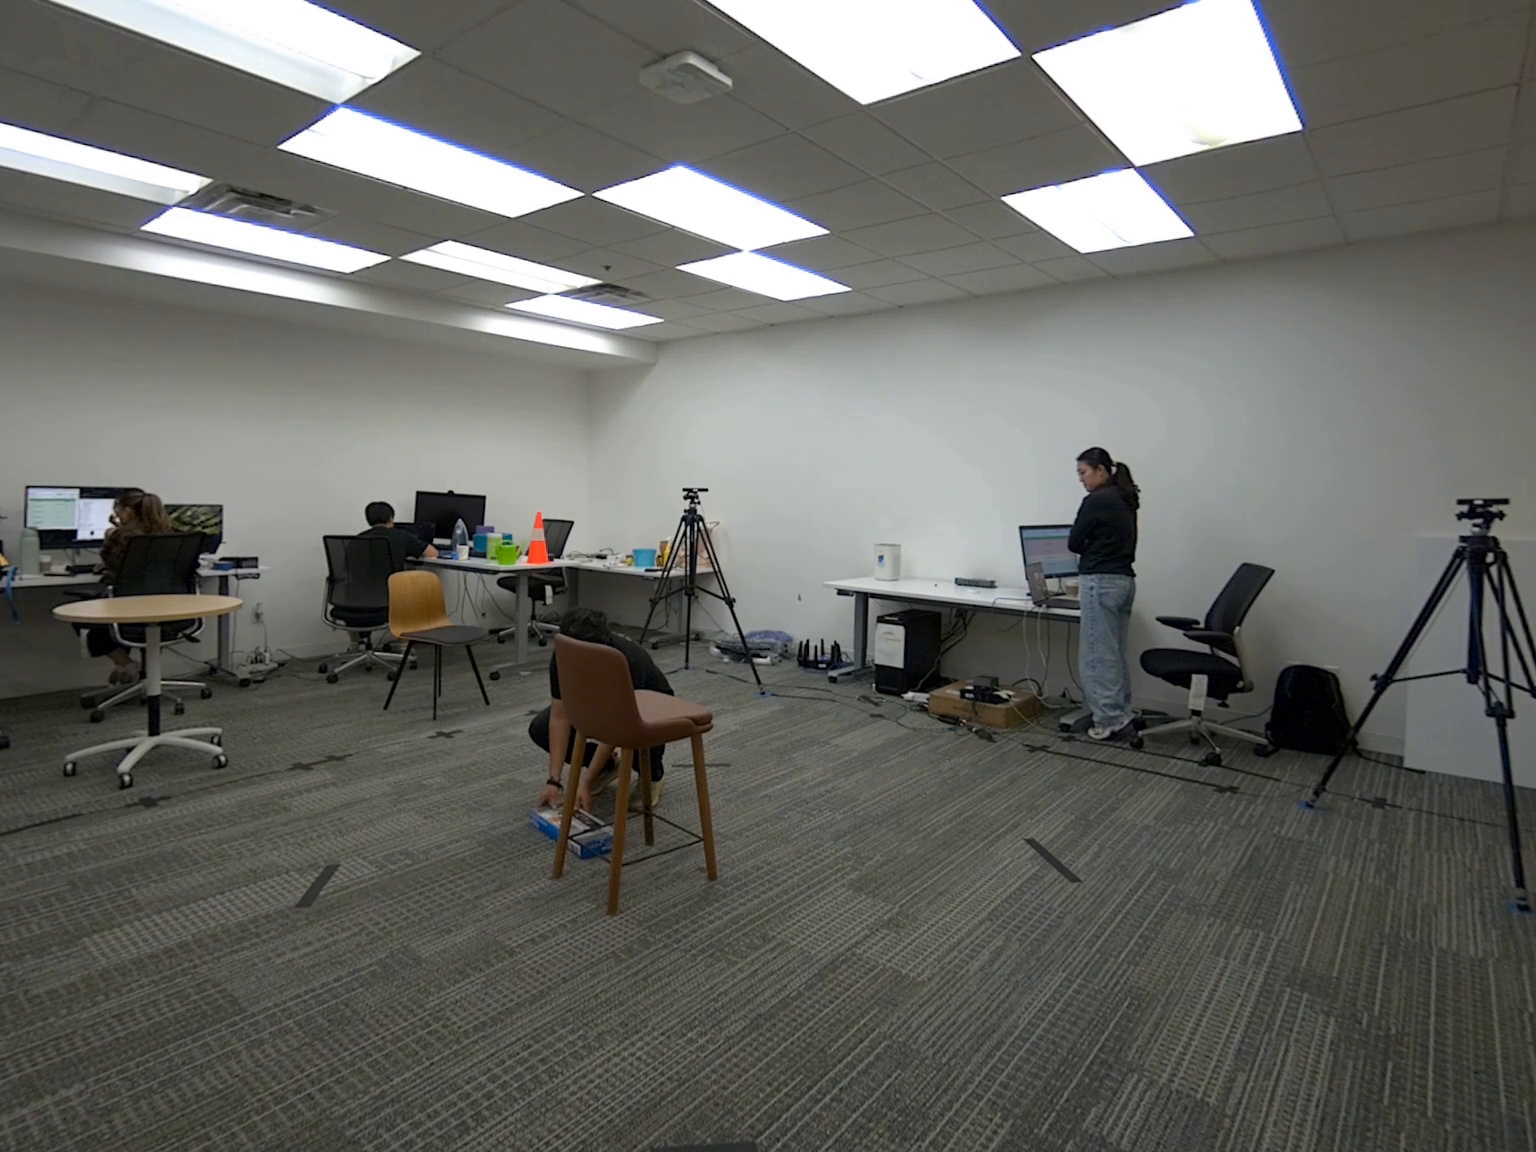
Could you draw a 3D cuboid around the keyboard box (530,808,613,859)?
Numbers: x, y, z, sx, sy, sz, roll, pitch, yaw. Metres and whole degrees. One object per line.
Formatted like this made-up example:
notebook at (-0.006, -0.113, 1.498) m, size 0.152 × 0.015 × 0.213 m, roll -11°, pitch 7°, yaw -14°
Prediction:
keyboard box at (-0.790, 1.010, 3.399) m, size 0.171 × 0.059 × 0.452 m, roll -3°, pitch 7°, yaw -39°
